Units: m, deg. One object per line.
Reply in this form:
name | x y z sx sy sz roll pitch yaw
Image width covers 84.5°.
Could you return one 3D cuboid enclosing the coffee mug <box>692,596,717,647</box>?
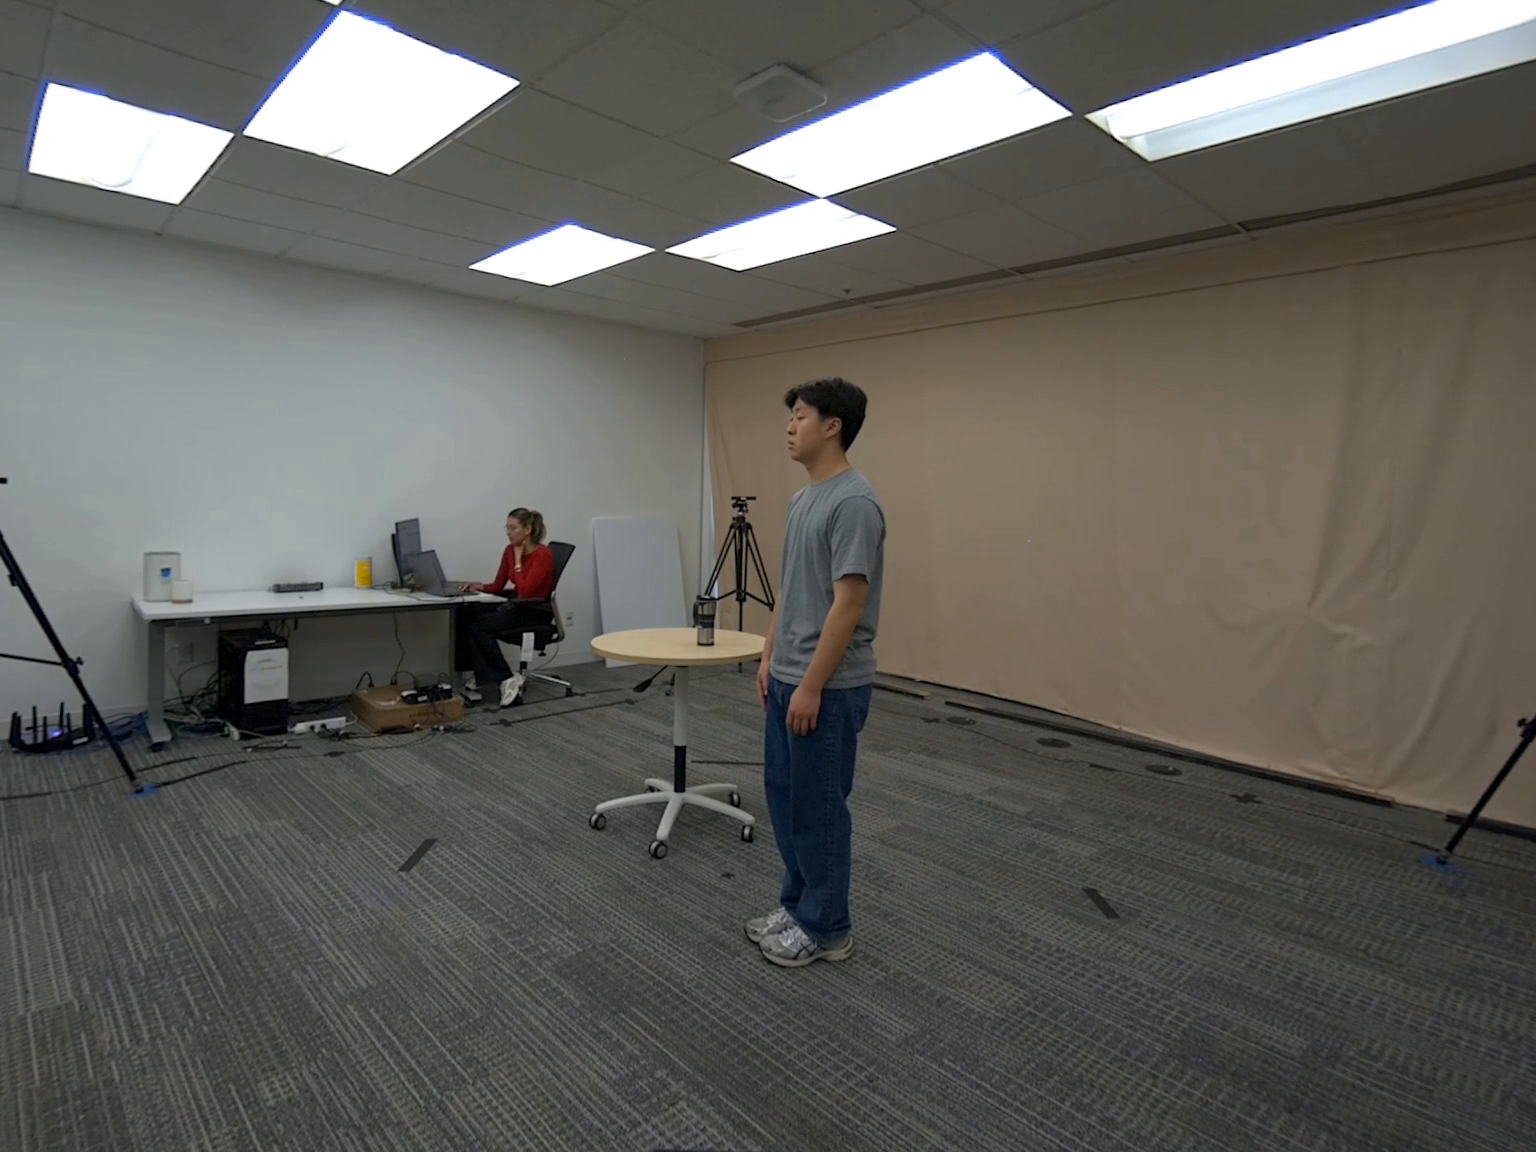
coffee mug | -0.284 0.188 3.471 0.119 0.202 0.090 1 6 -42
